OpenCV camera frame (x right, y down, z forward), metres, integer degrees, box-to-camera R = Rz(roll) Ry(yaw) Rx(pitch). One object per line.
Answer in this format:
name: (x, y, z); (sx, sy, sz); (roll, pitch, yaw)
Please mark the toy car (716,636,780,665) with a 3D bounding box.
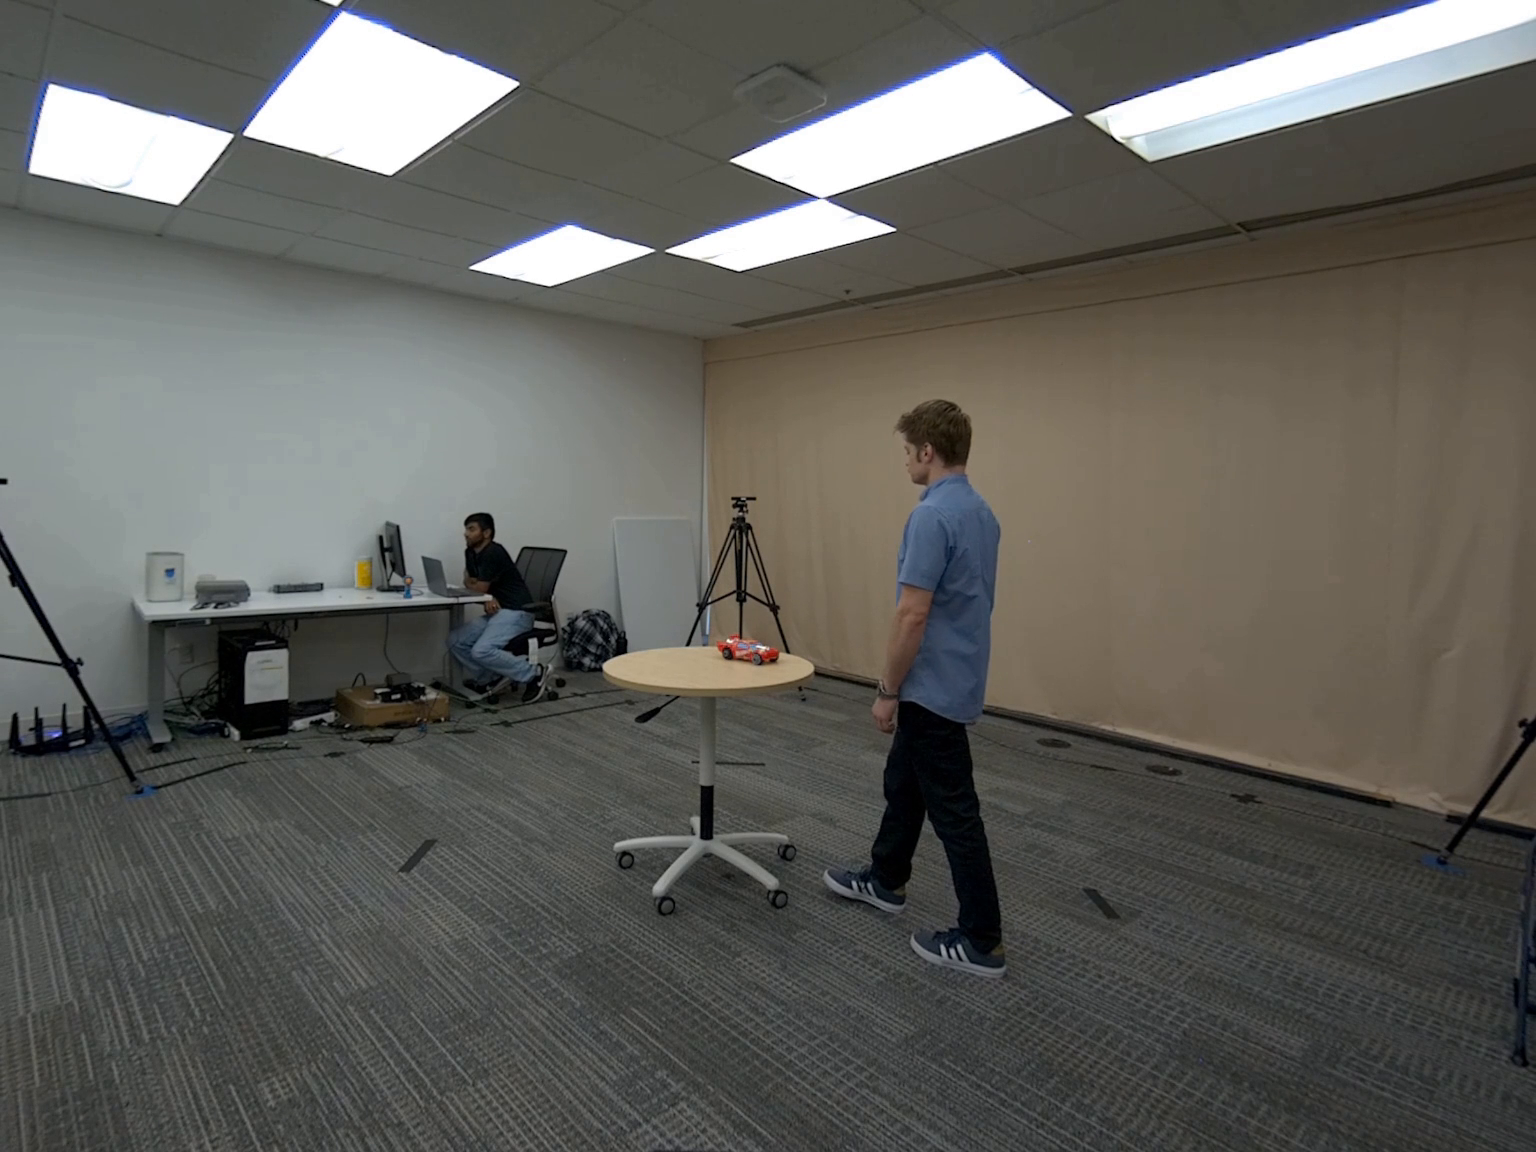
toy car: (-0.087, 0.285, 3.173); (0.262, 0.082, 0.127); (18, 15, 39)
